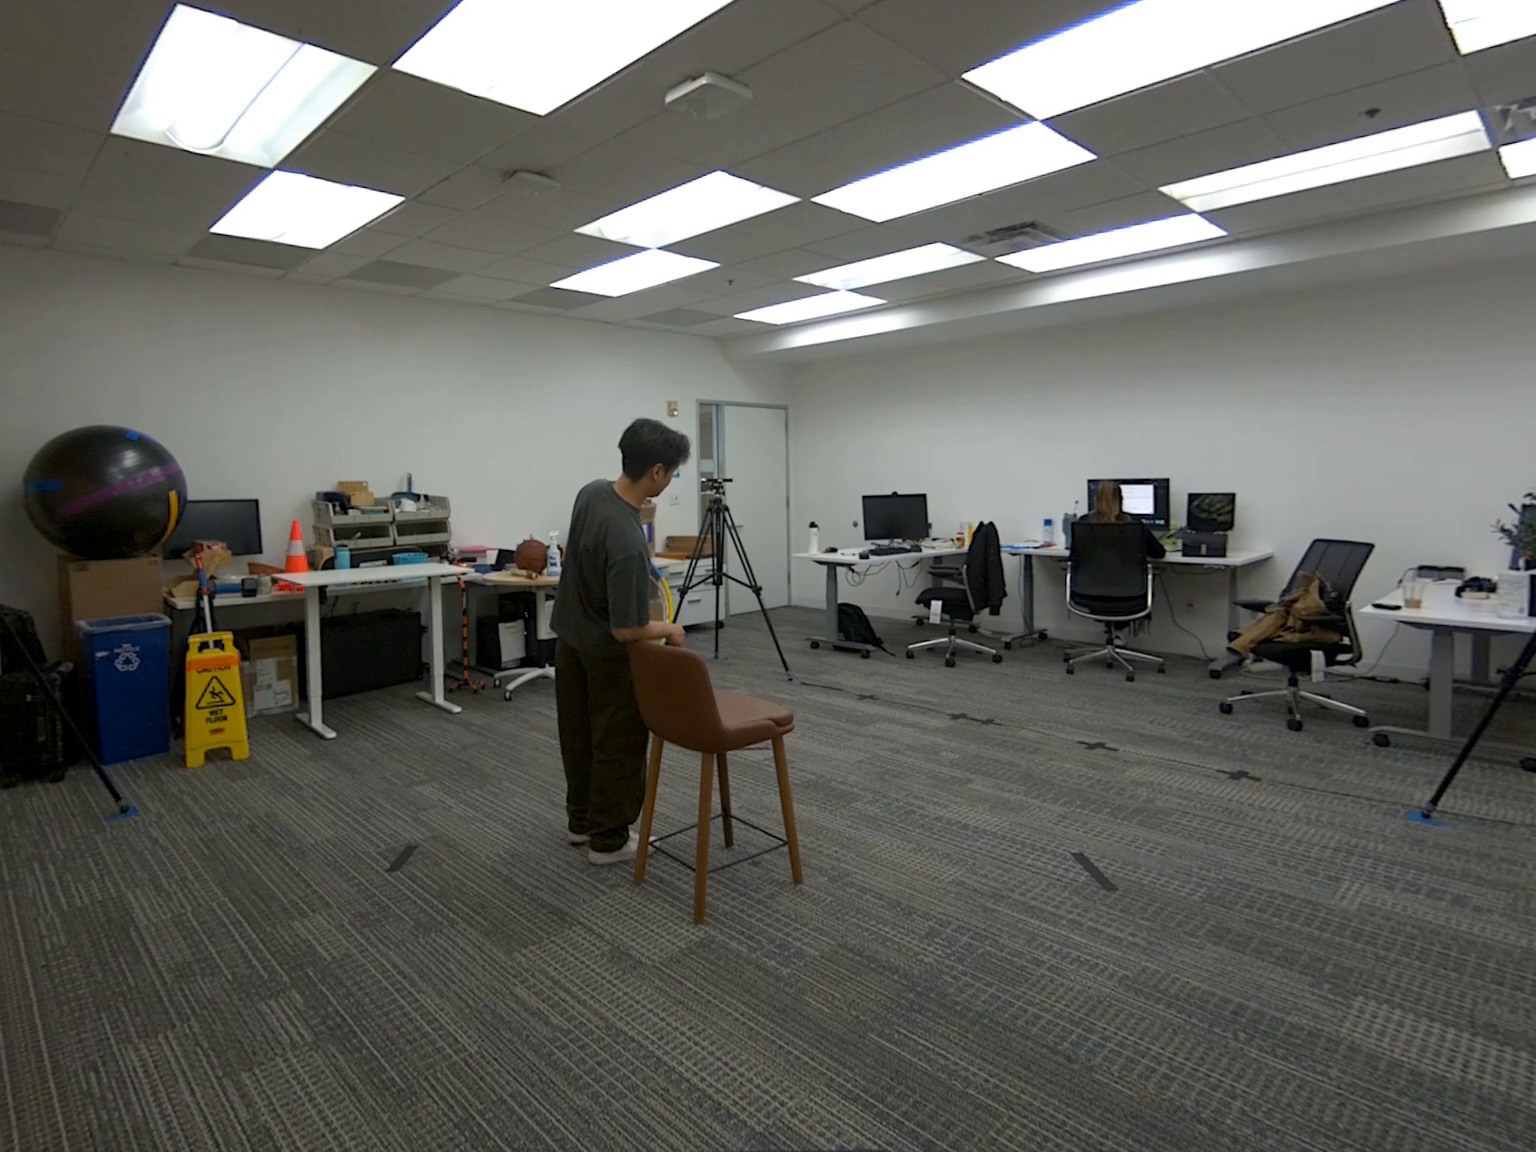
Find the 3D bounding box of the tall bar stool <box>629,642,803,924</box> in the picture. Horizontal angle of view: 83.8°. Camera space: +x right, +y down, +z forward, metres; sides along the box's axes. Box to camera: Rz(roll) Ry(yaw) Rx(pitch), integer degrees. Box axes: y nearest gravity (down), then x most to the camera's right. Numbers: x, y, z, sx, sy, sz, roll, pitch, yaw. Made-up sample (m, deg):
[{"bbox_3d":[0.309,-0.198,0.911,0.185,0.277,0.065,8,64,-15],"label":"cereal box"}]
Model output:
[{"bbox_3d":[-0.188,0.630,2.930,0.456,0.885,0.470,-7,7,-40],"label":"tall bar stool"}]
